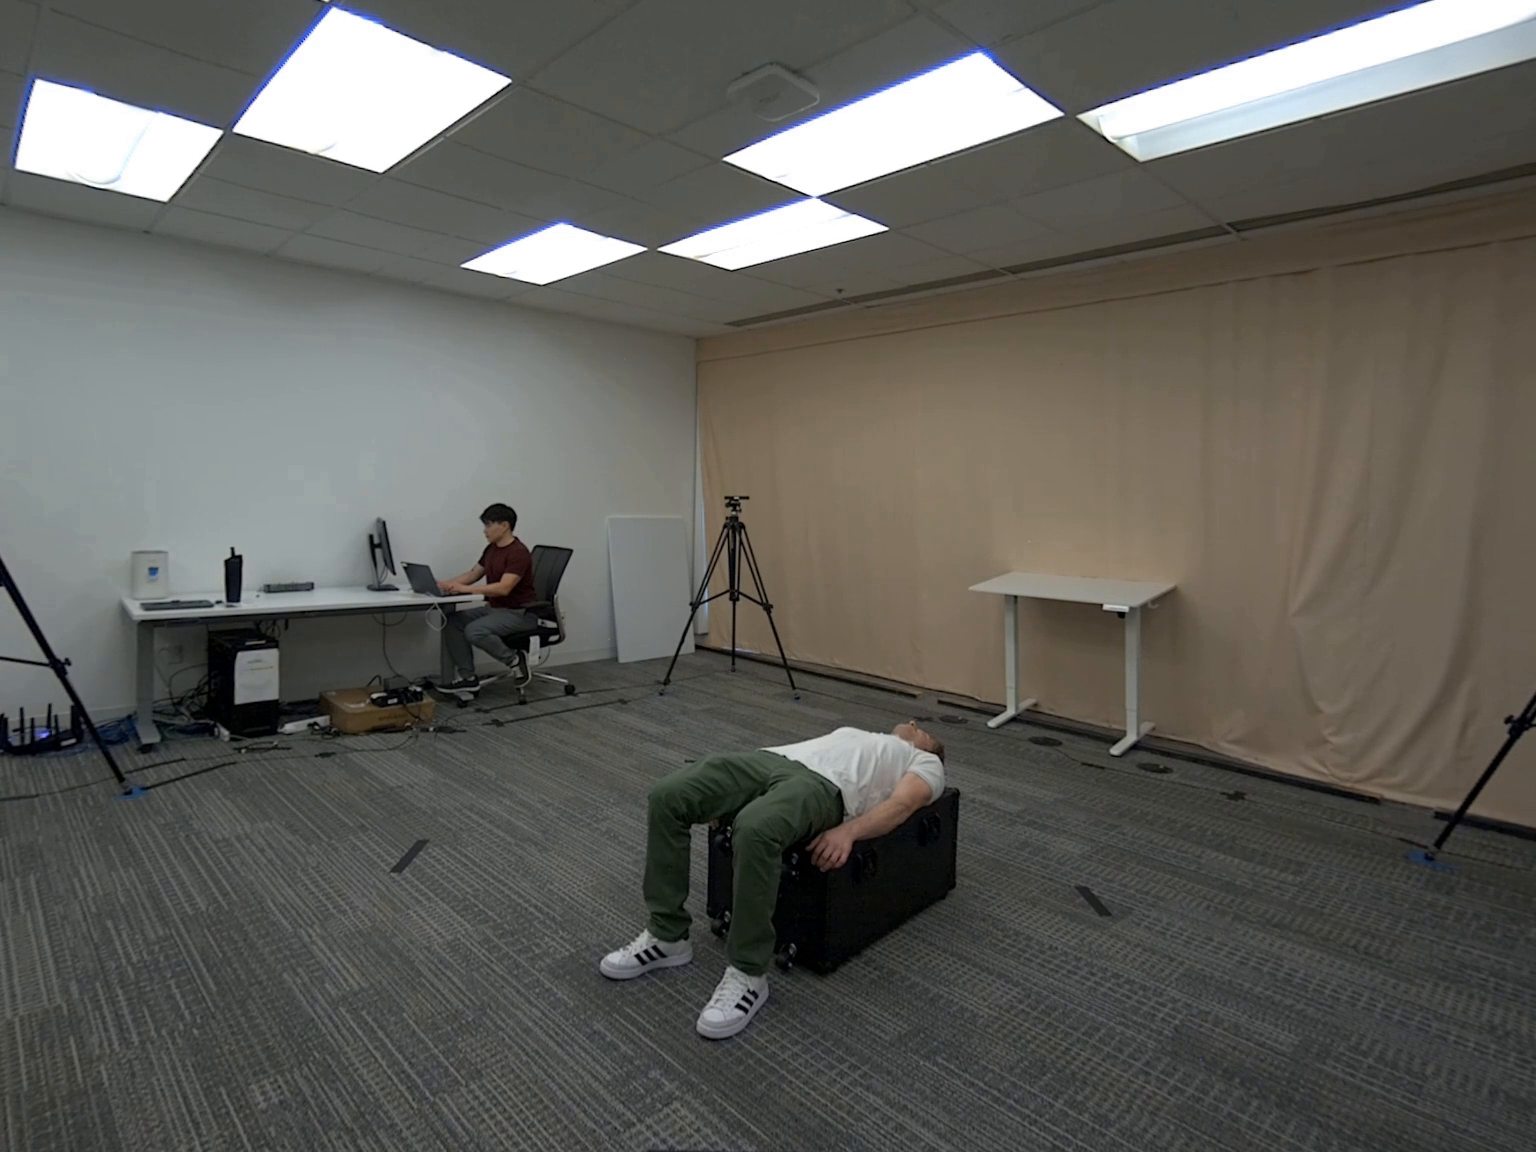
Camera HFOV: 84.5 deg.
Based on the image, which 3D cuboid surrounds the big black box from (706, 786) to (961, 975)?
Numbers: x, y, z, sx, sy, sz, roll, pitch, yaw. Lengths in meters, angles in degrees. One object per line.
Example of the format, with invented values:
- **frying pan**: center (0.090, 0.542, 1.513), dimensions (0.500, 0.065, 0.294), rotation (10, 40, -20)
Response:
- **big black box**: center (0.204, 0.949, 2.843), dimensions (0.537, 0.384, 0.849), rotation (6, 8, 42)
